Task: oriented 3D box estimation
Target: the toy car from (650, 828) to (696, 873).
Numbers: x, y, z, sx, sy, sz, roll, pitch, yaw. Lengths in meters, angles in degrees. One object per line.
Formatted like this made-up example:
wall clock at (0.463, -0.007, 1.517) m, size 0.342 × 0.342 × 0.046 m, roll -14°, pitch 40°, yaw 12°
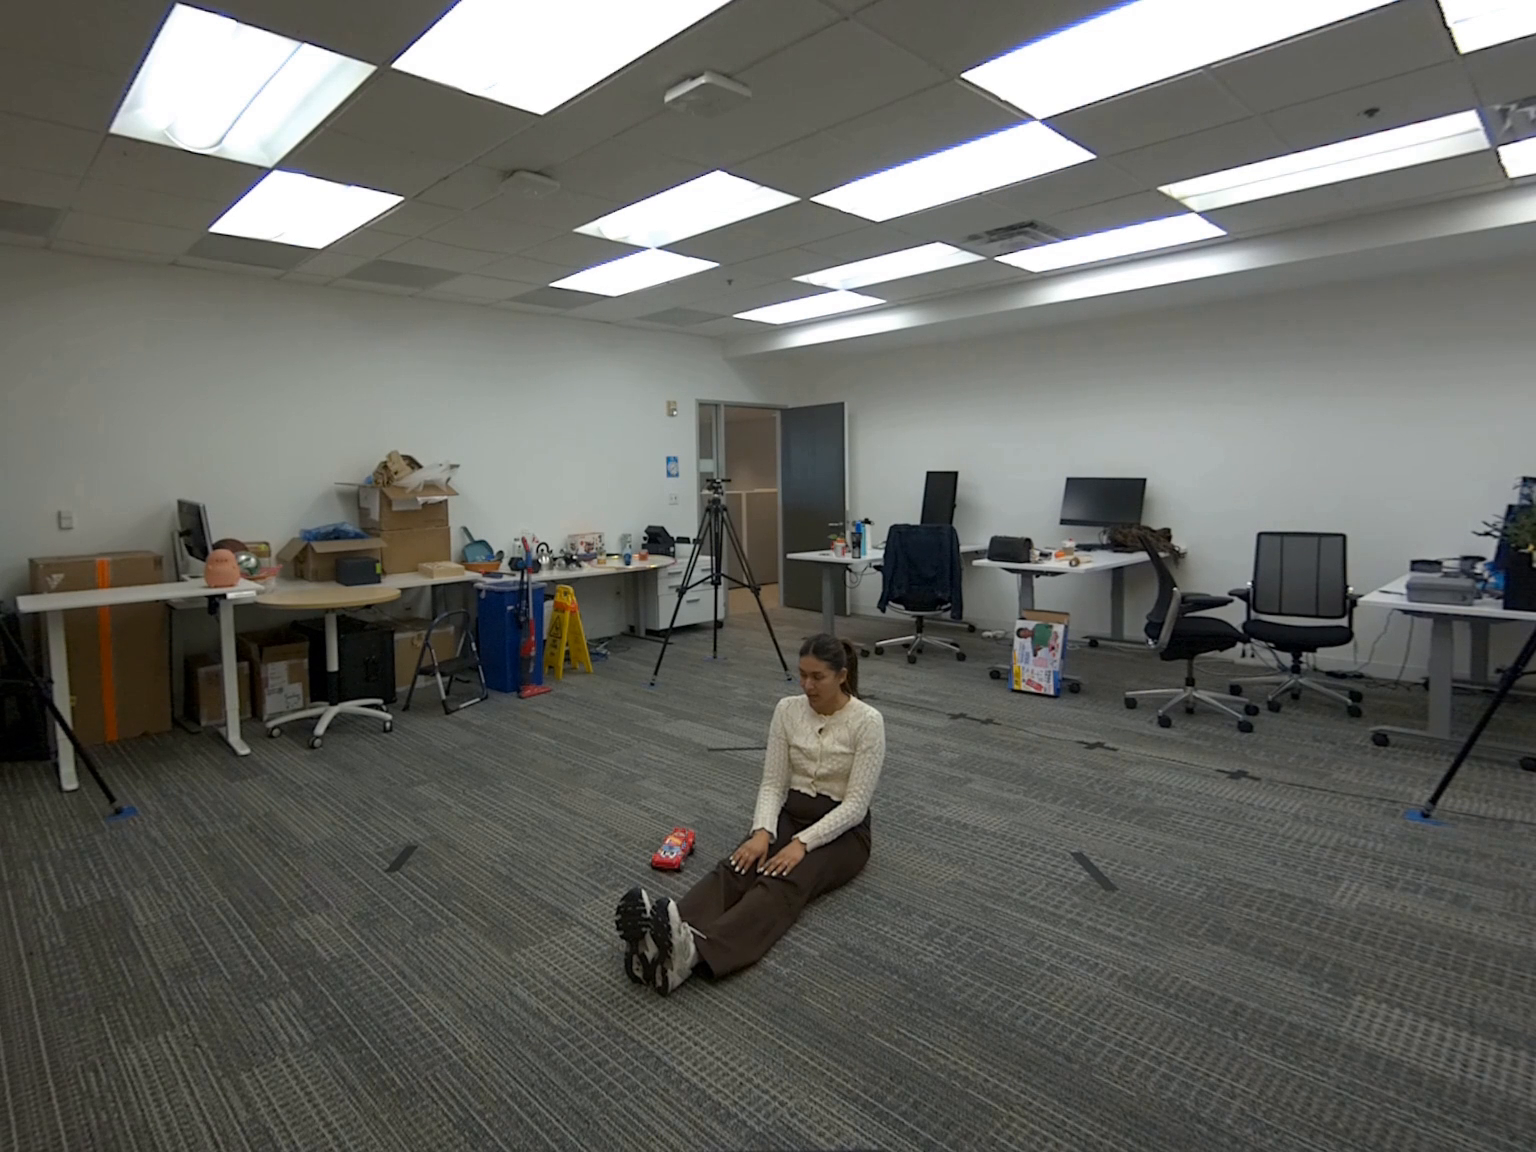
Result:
toy car at (-0.337, 1.009, 3.163) m, size 0.132 × 0.082 × 0.255 m, roll 0°, pitch 18°, yaw 12°
